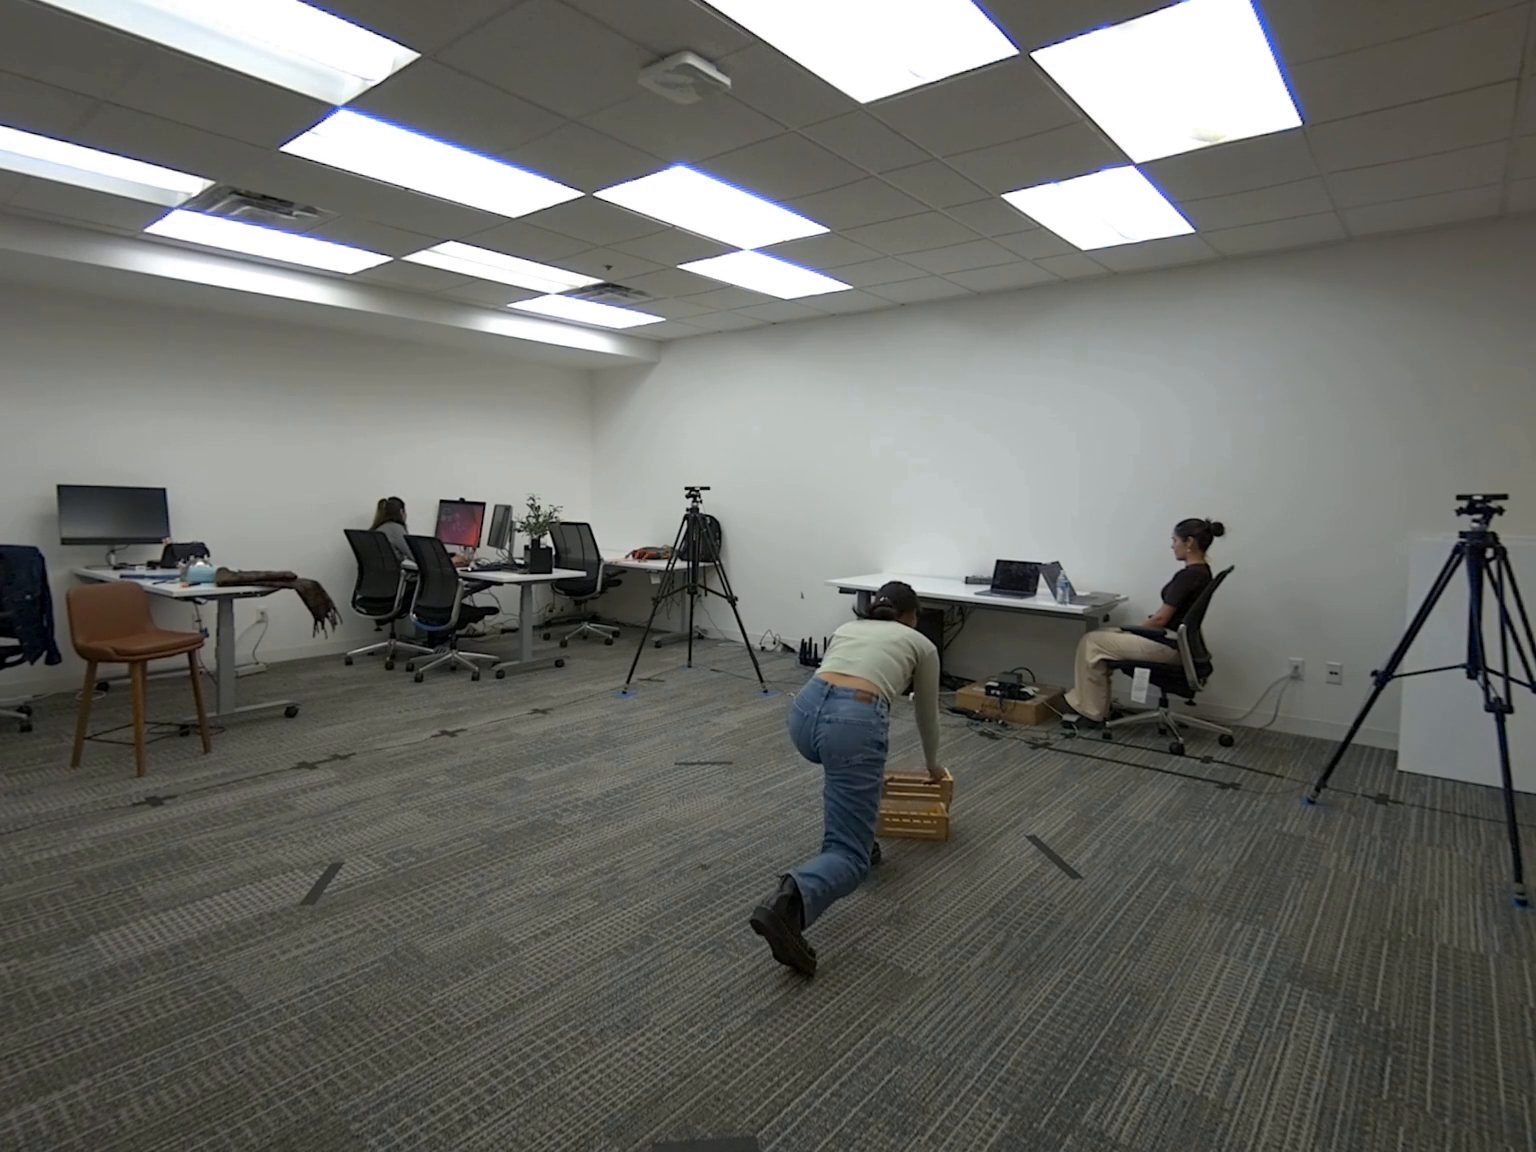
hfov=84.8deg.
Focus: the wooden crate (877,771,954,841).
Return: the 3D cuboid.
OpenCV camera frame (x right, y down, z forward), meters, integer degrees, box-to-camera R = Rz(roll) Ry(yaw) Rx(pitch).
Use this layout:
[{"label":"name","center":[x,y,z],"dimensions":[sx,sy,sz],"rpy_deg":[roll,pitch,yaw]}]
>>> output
[{"label":"wooden crate","center":[0.578,0.907,3.523],"dimensions":[0.326,0.272,0.302],"rpy_deg":[1,5,4]}]
